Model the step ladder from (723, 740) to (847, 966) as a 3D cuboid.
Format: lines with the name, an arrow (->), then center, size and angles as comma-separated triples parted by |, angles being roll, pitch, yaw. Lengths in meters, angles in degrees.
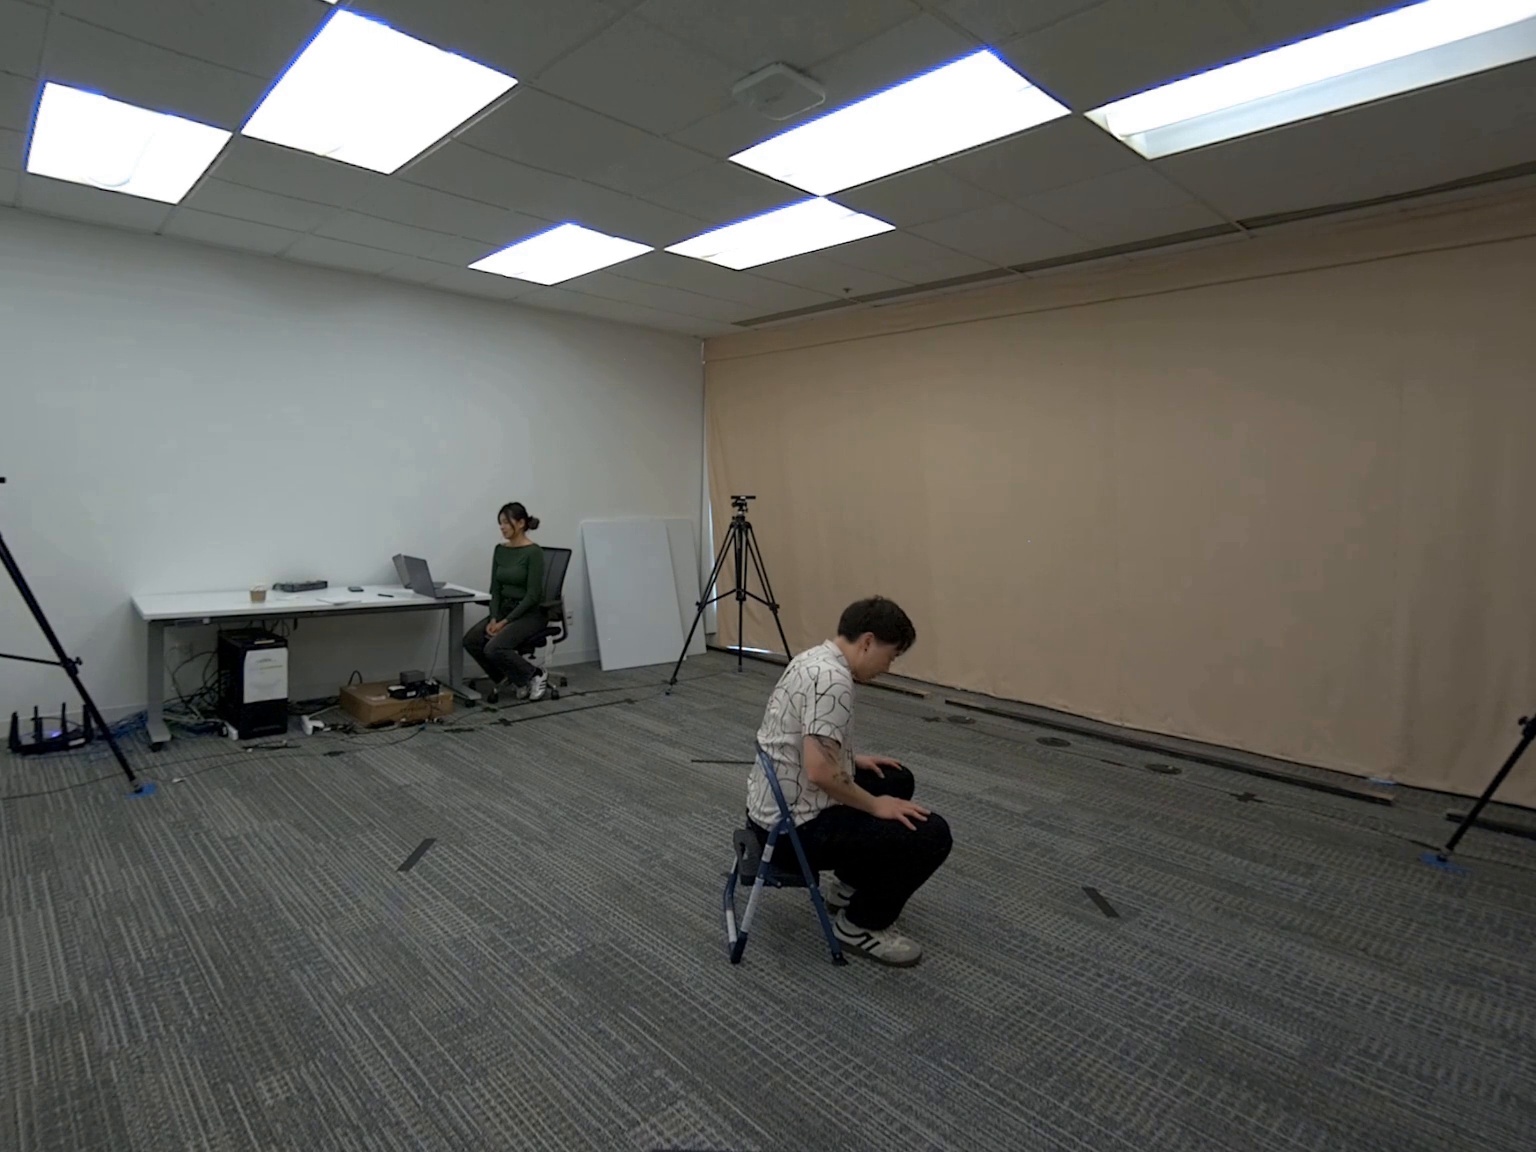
step ladder -> 0.039, 0.846, 2.698 | 0.348, 0.604, 0.434 | 1, 5, -6
